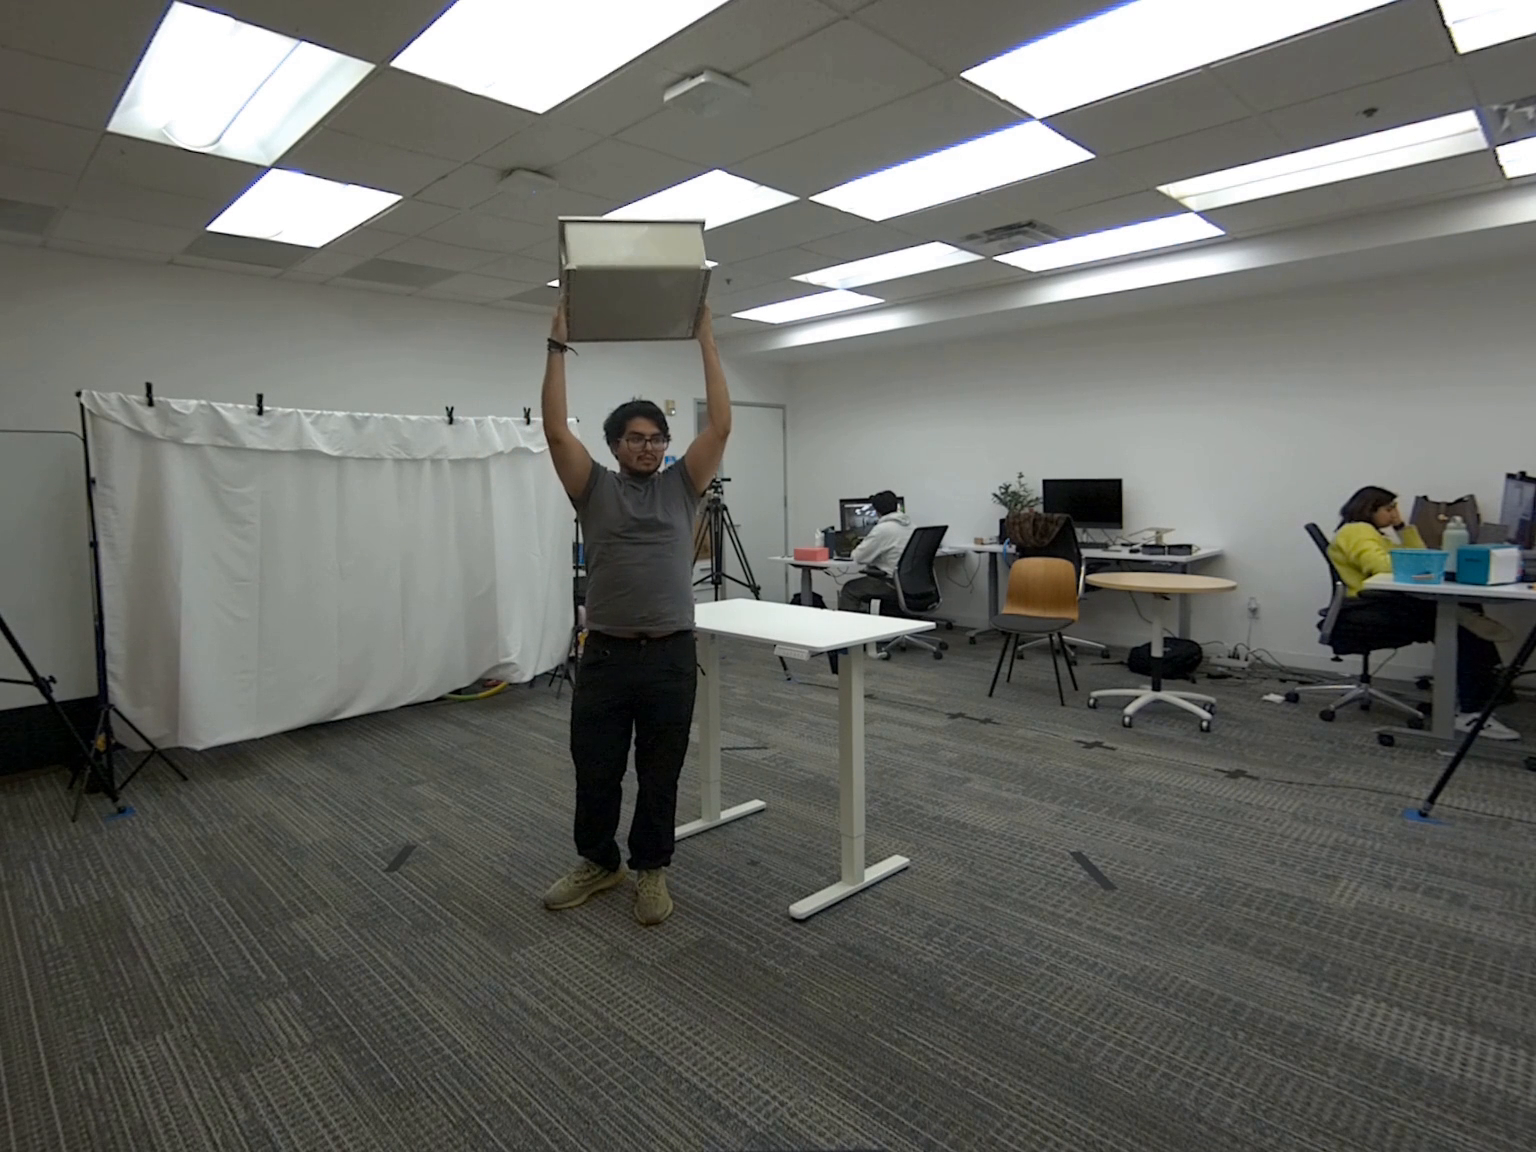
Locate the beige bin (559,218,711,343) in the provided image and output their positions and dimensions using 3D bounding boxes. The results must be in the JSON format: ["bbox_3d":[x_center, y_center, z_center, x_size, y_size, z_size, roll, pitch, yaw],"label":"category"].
[{"bbox_3d":[-0.406,-0.860,2.546,0.417,0.193,0.373,-3,-23,-13],"label":"beige bin"}]
